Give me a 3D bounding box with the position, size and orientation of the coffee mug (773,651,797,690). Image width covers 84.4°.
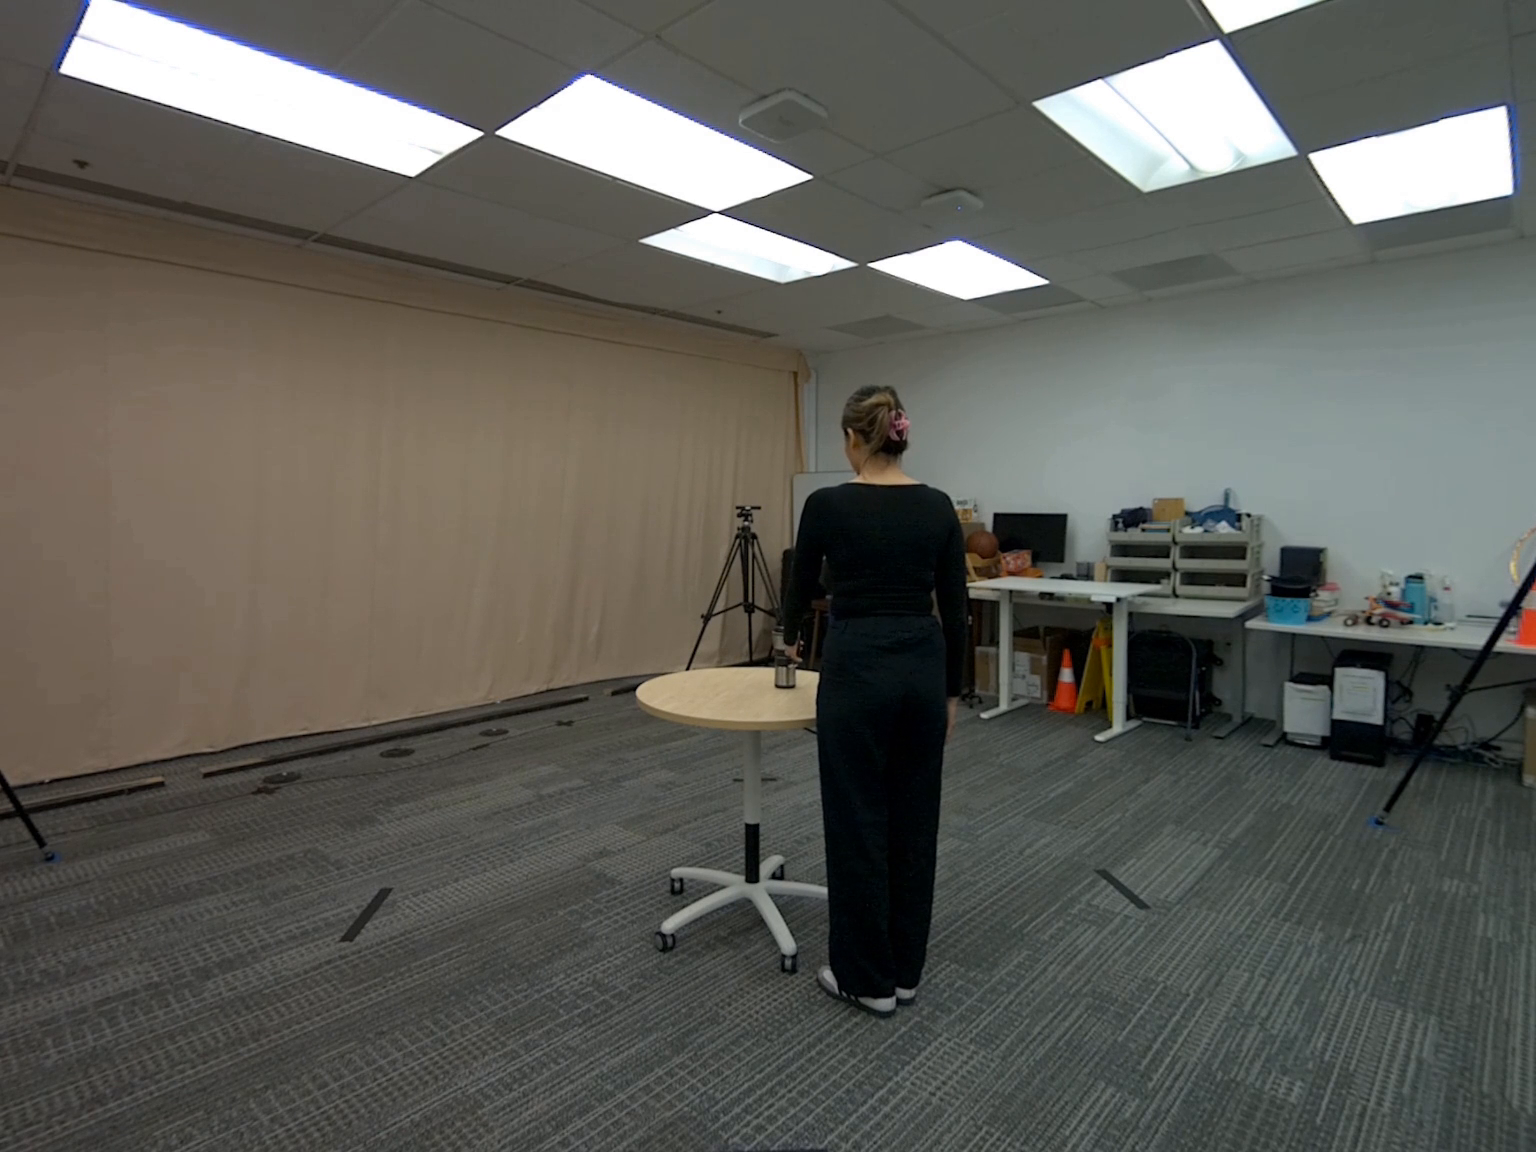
[{"bbox_3d":[0.051,0.280,2.807,0.090,0.202,0.119,8,4,23],"label":"coffee mug"}]
